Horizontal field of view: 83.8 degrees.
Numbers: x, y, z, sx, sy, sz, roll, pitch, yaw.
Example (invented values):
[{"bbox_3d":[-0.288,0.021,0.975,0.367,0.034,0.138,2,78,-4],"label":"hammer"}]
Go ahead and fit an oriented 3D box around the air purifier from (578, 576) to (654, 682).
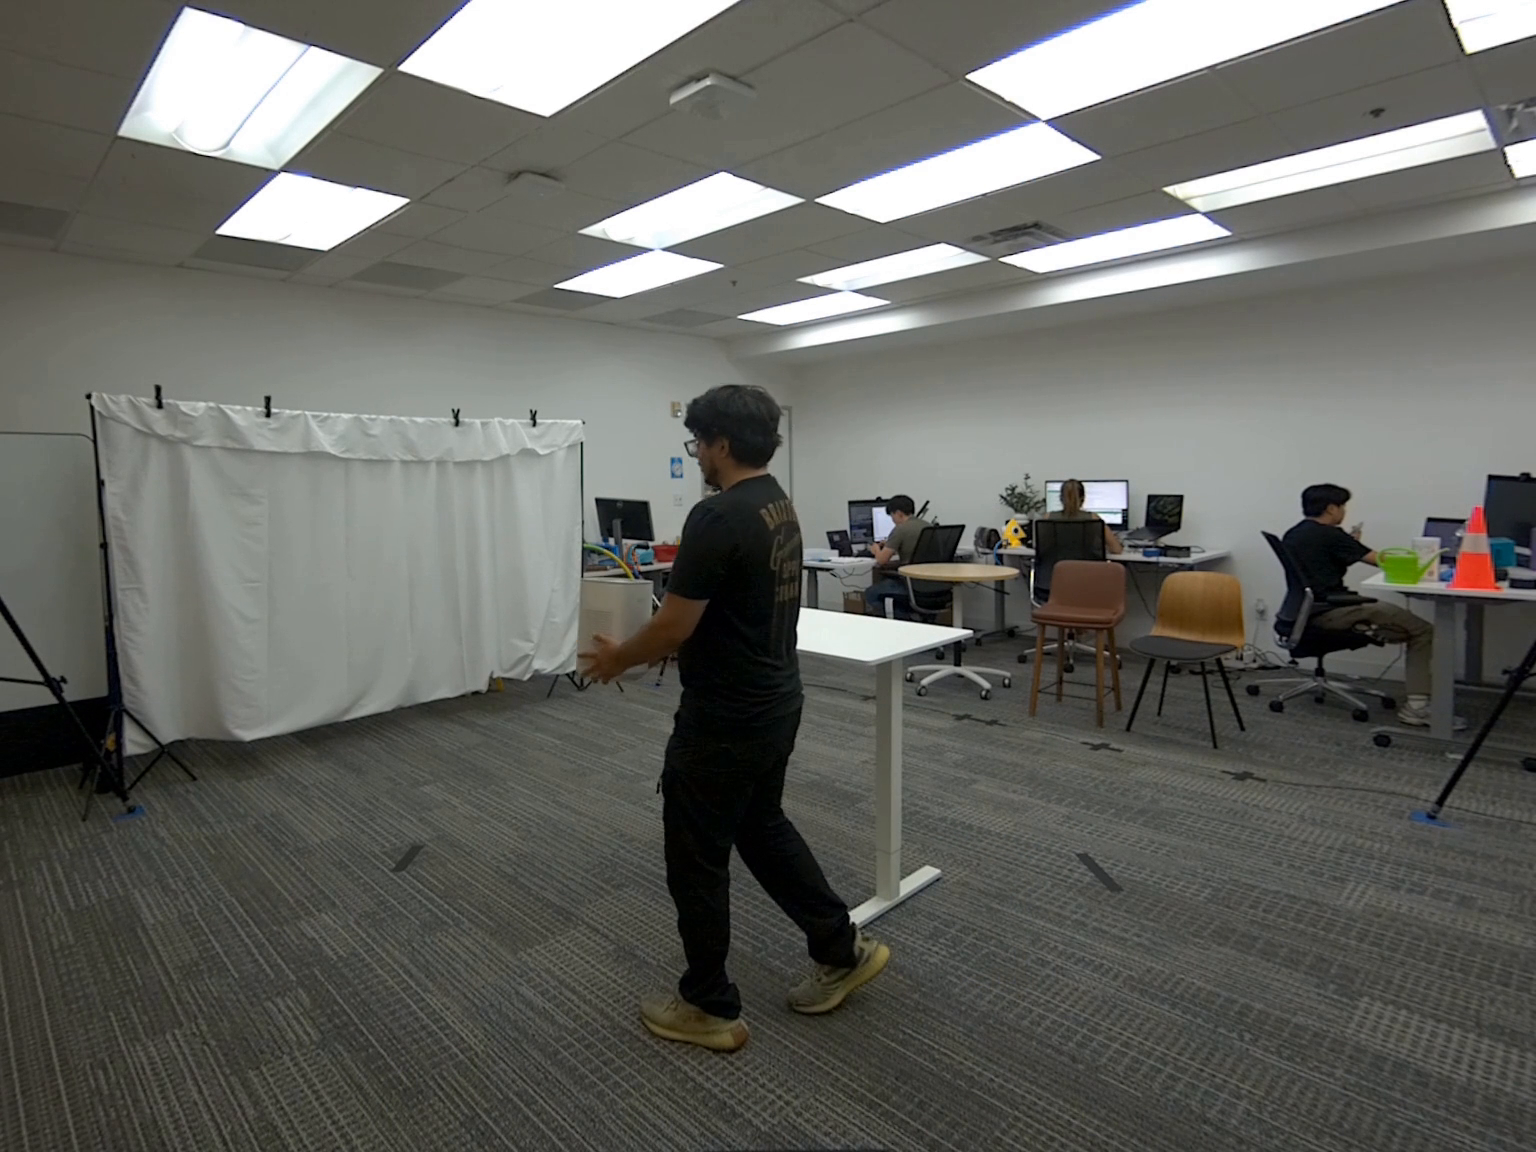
[{"bbox_3d":[-0.407,0.143,2.322,0.176,0.265,0.167,2,0,25],"label":"air purifier"}]
